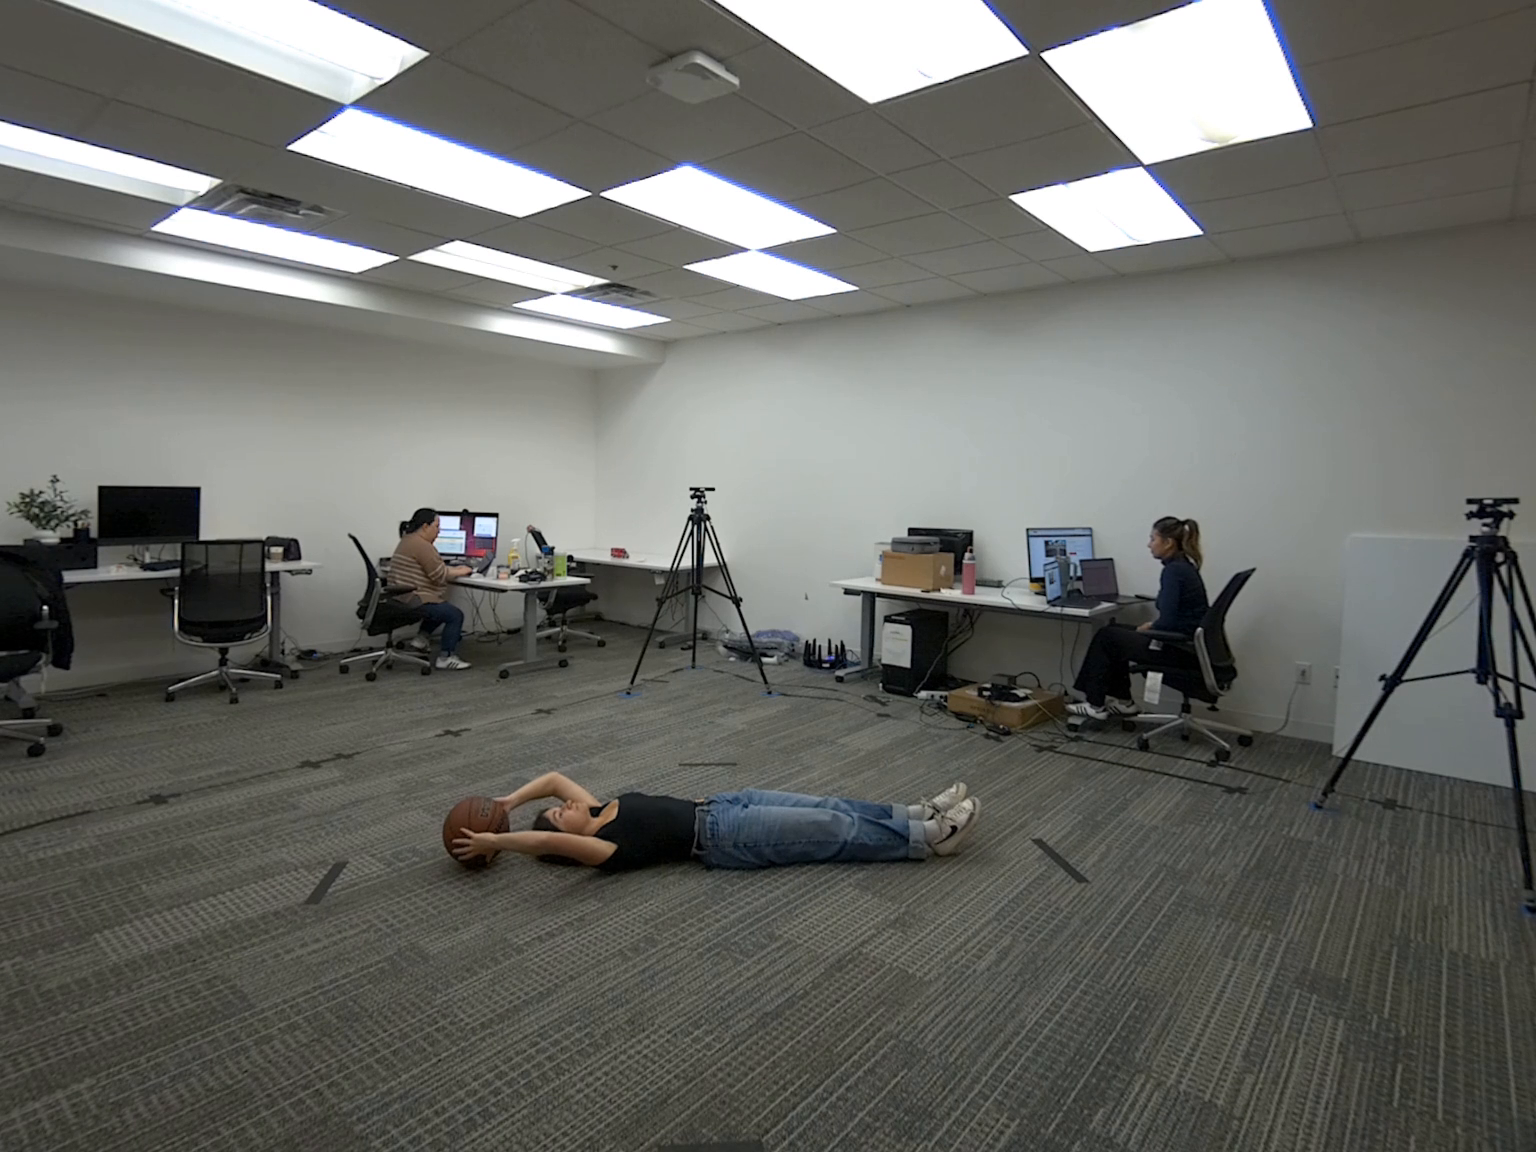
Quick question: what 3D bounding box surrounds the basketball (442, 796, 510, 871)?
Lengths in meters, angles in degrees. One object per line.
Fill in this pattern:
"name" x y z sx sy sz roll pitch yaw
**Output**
"basketball" -1.079 0.925 3.117 0.235 0.235 0.237 1 4 -2
